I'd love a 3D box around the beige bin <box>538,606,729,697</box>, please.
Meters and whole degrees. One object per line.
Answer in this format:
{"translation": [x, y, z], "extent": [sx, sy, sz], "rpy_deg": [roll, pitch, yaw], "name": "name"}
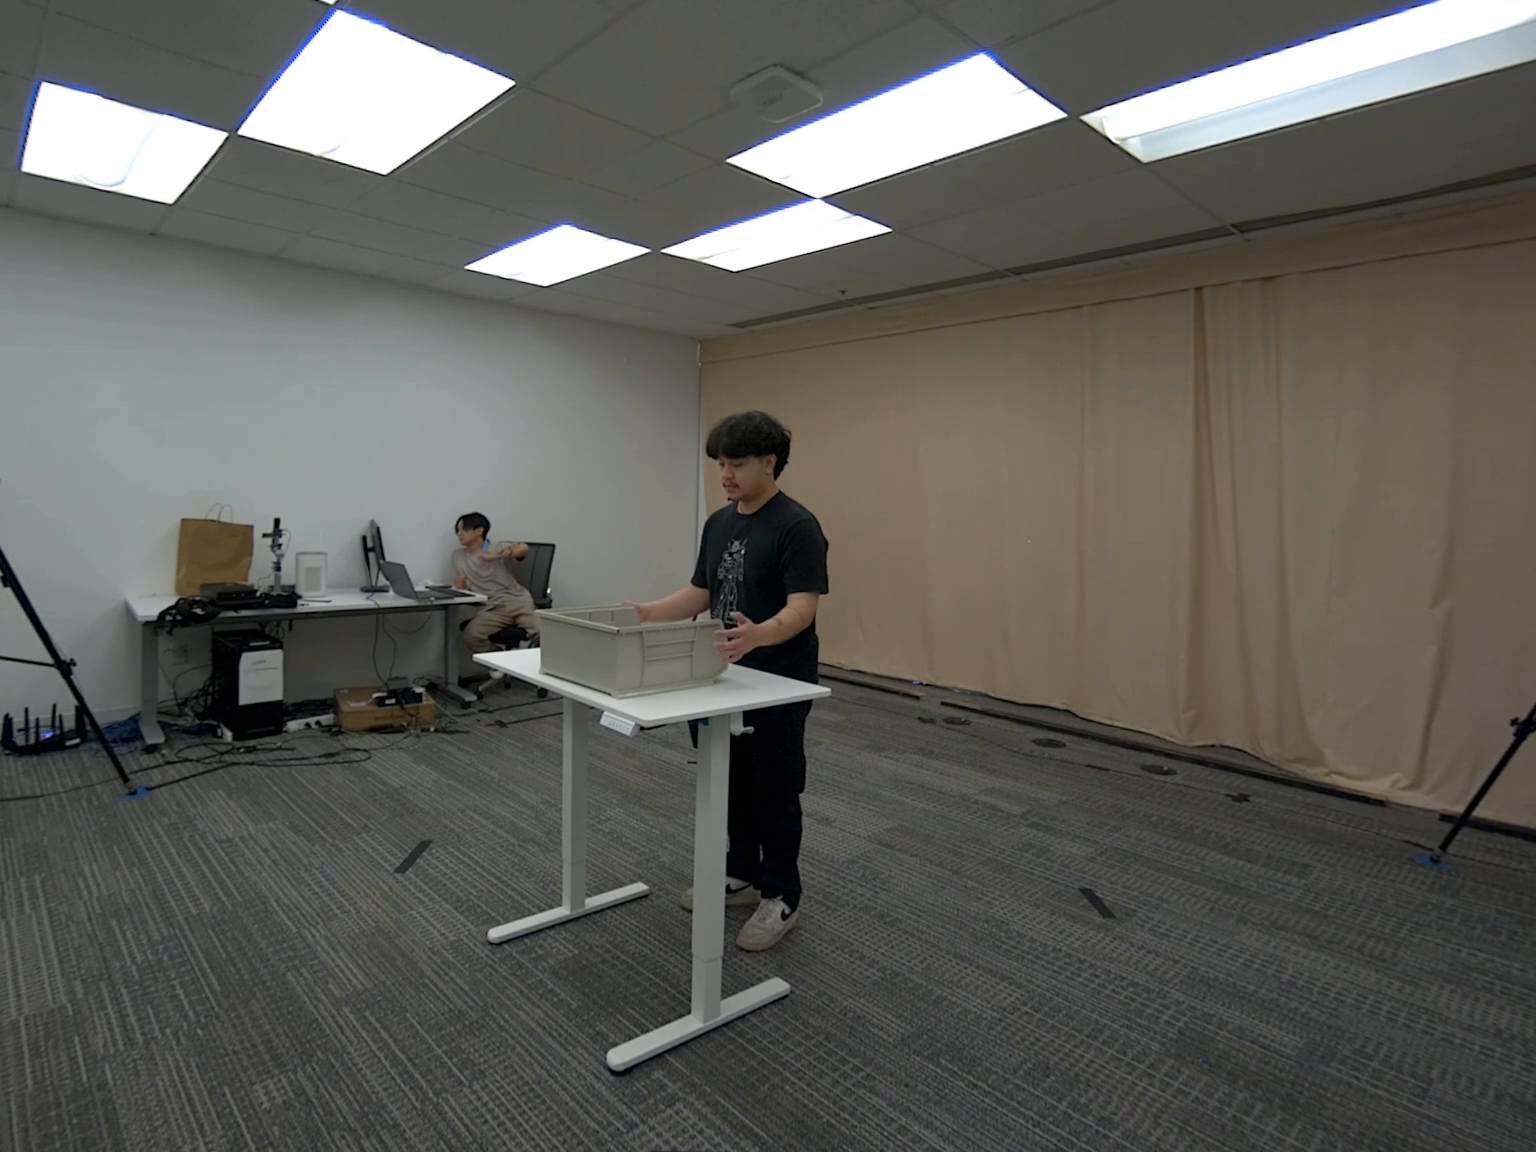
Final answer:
{"translation": [-0.391, 0.204, 2.343], "extent": [0.369, 0.188, 0.433], "rpy_deg": [-3, 6, -42], "name": "beige bin"}
